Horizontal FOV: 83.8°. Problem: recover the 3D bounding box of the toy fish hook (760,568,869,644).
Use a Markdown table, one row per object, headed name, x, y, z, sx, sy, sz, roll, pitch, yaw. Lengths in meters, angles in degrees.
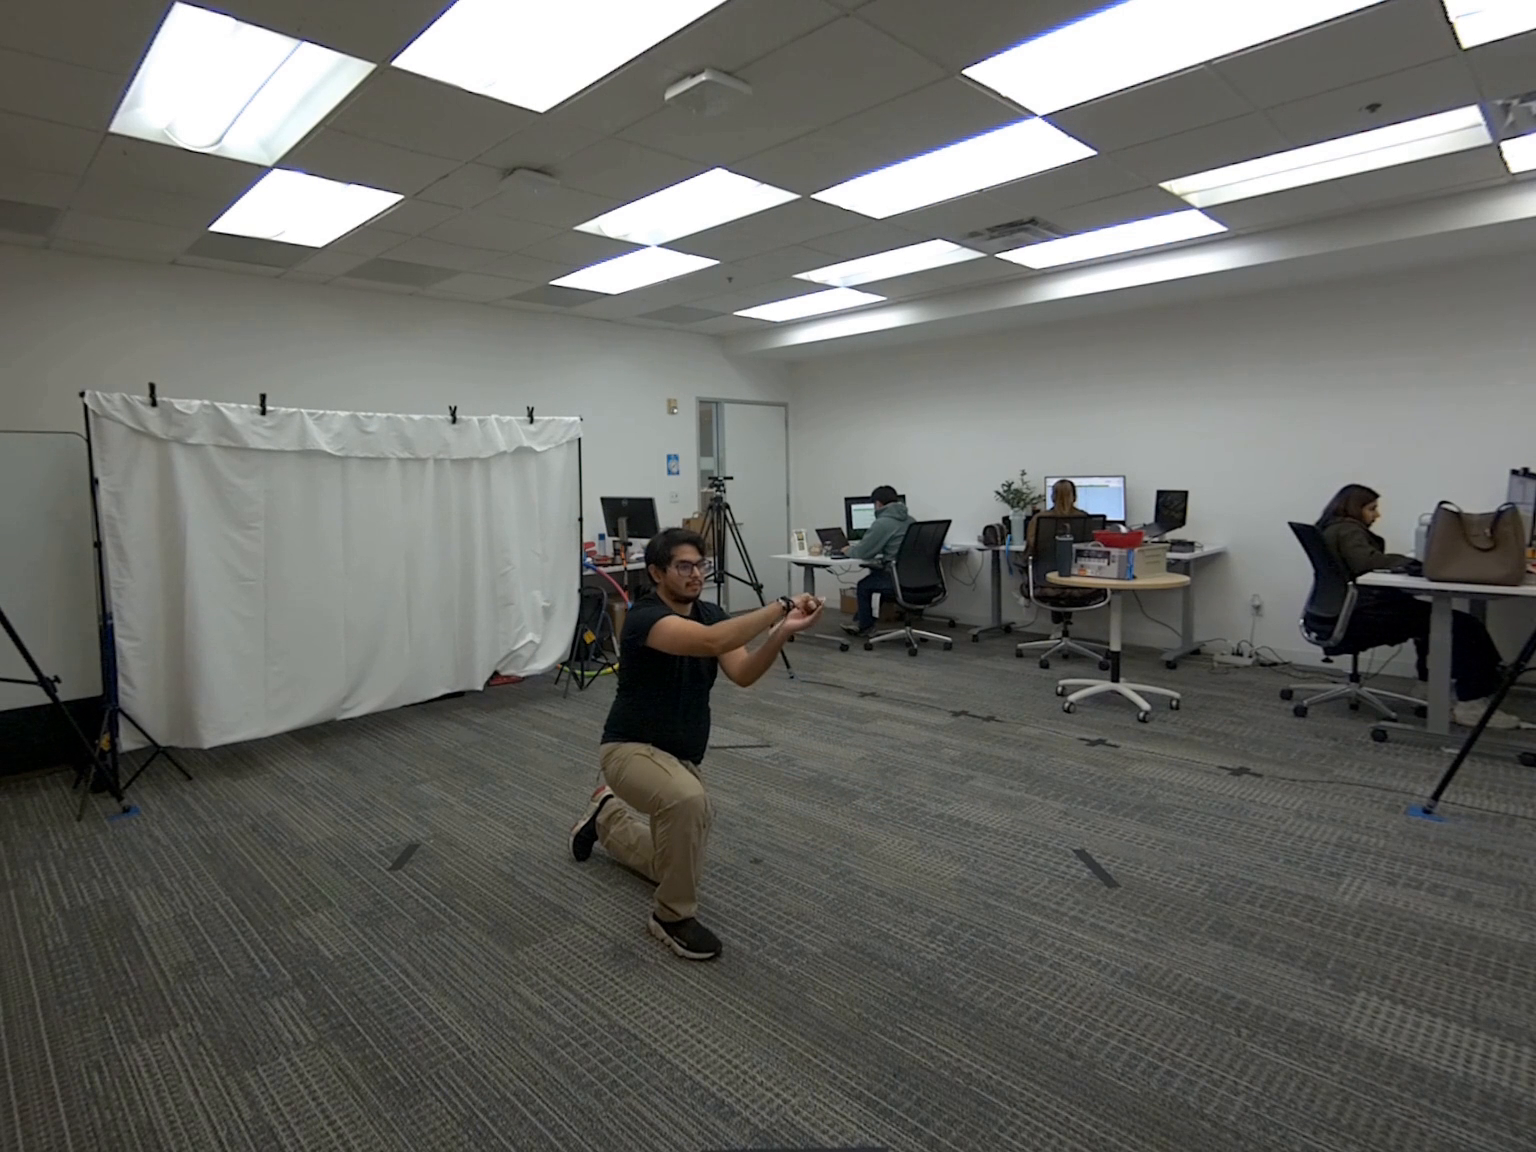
| name | x | y | z | sx | sy | sz | roll | pitch | yaw |
| --- | --- | --- | --- | --- | --- | --- | --- | --- | --- |
| toy fish hook | 0.138 | 0.122 | 2.808 | 0.224 | 0.048 | 0.507 | -40 | 0 | -21 |
